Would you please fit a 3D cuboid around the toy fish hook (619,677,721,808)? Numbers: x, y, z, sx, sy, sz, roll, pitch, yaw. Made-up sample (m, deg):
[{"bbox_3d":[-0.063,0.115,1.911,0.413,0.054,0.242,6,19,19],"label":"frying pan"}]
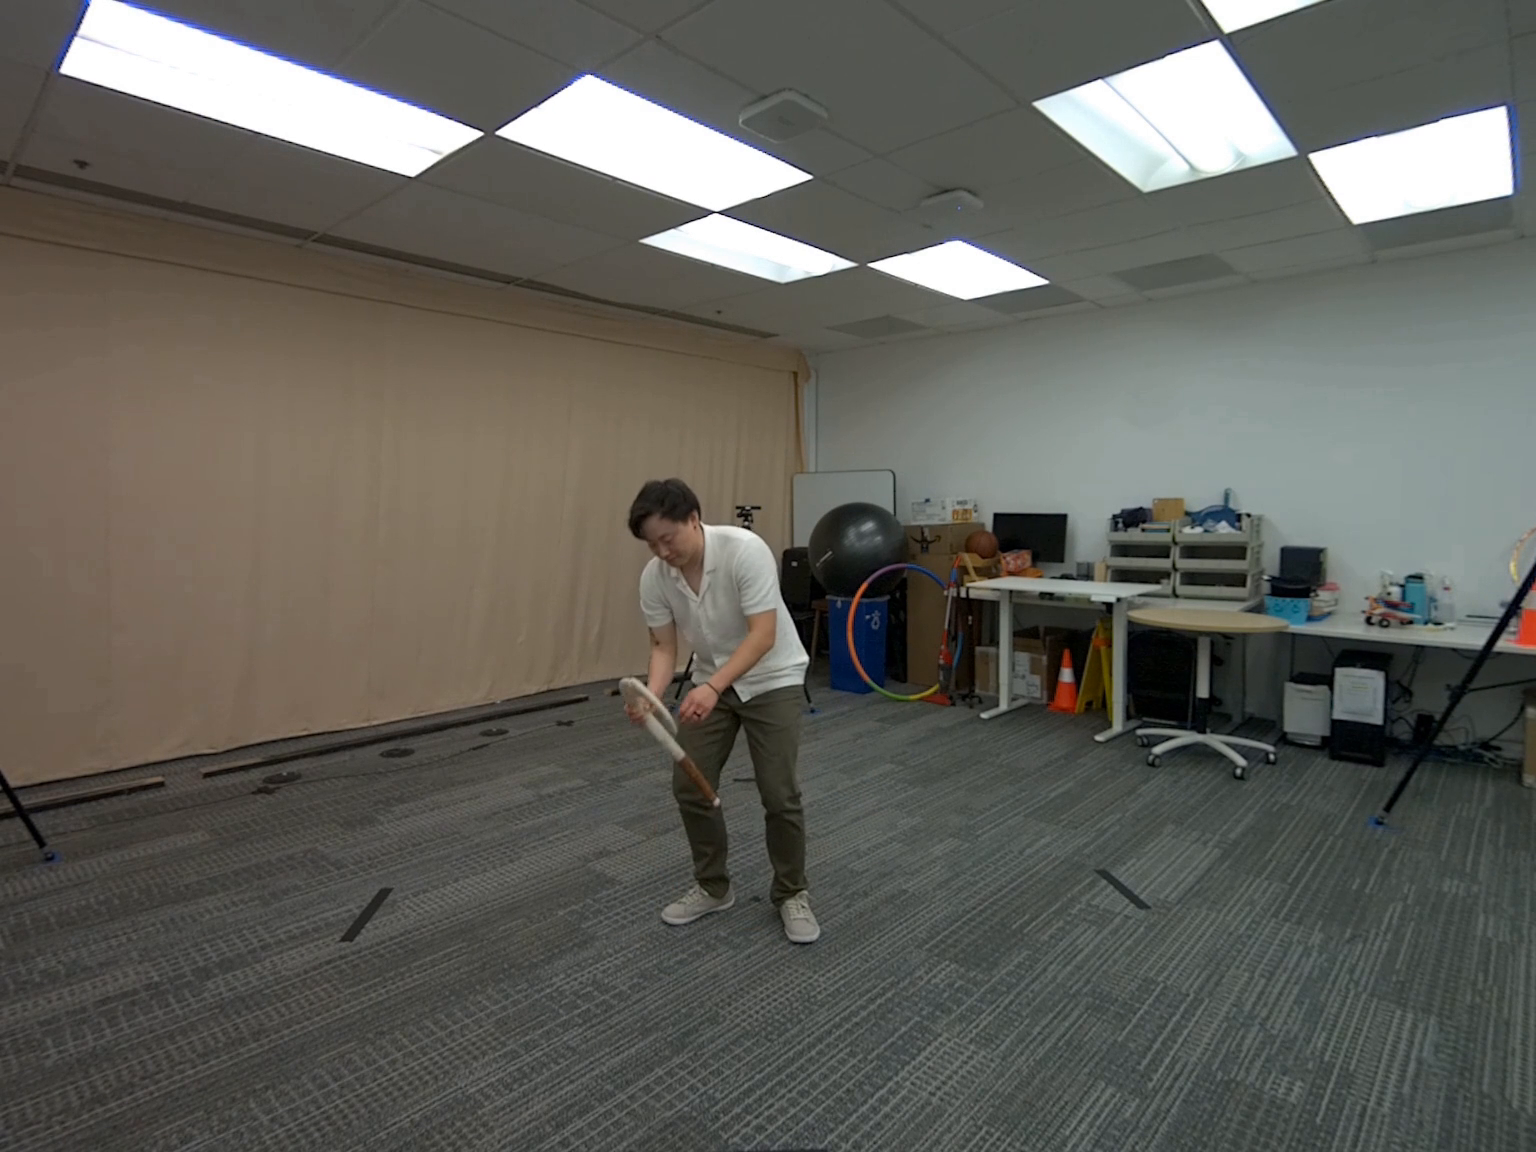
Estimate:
[{"bbox_3d":[-0.262,0.512,2.507,0.048,0.501,0.229,-40,12,-24],"label":"toy fish hook"}]
